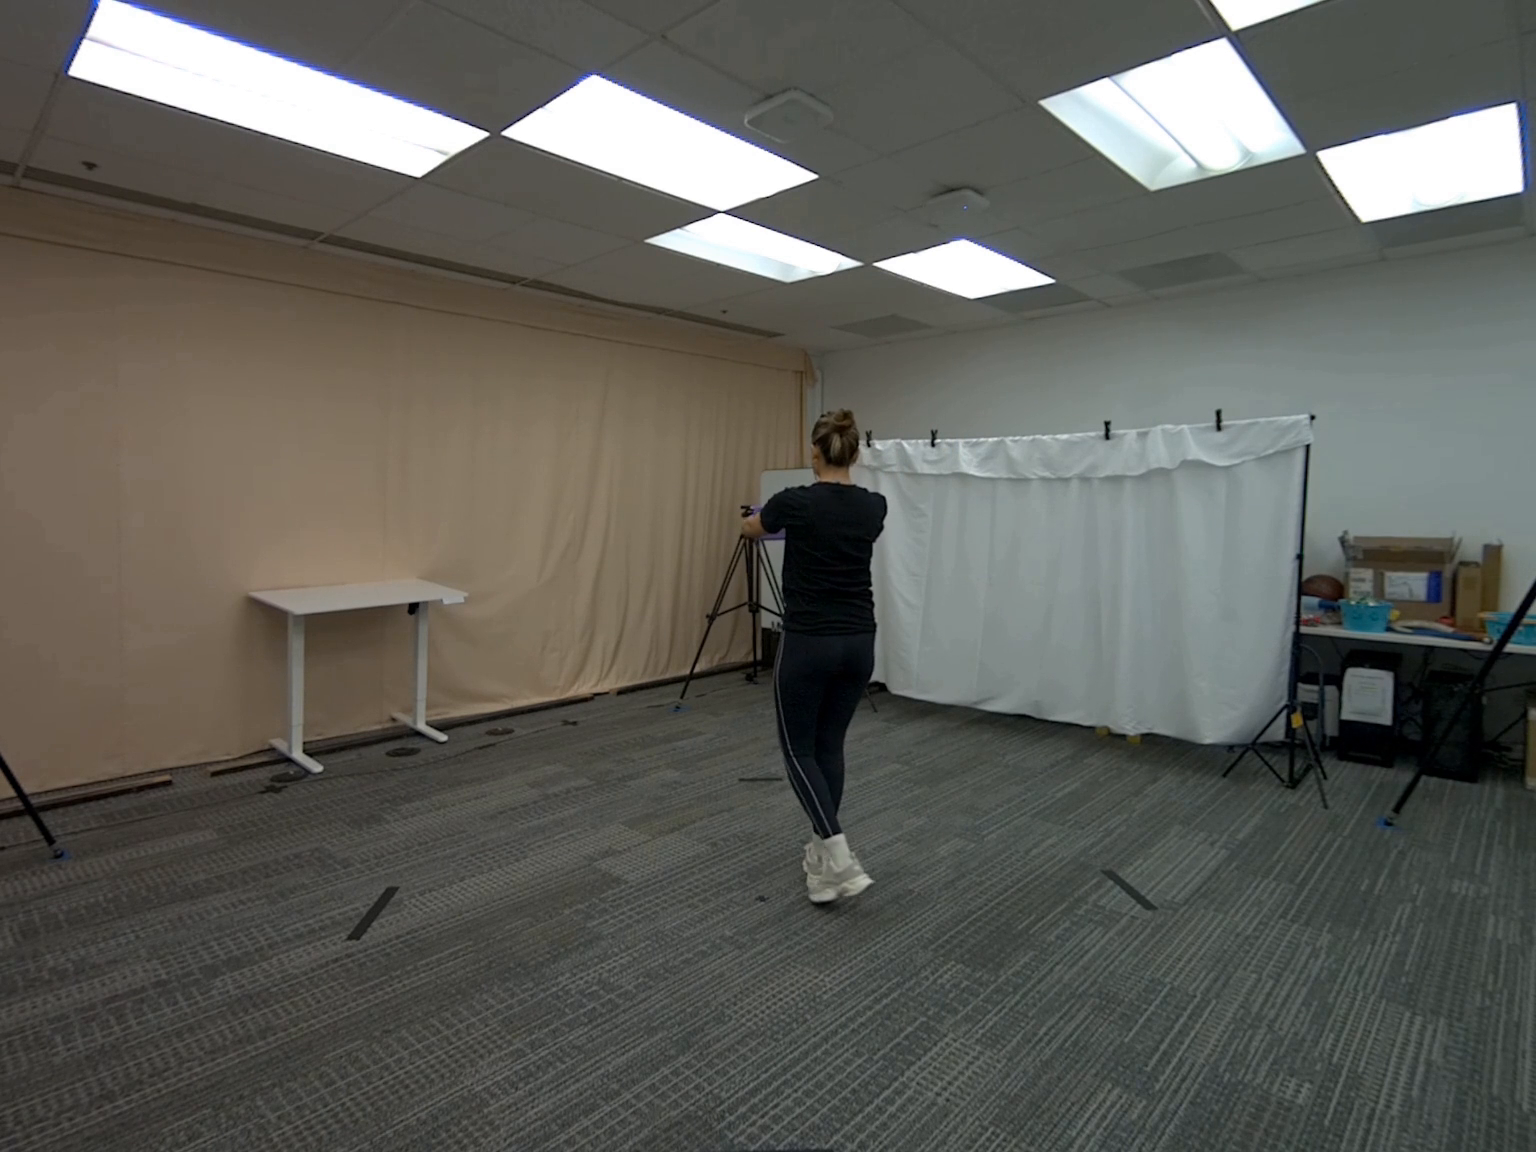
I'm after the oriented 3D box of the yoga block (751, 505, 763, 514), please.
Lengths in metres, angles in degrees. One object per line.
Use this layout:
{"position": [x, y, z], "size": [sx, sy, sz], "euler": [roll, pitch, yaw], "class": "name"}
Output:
{"position": [0.085, -0.226, 3.604], "size": [0.226, 0.149, 0.078], "euler": [-2, 3, -15], "class": "yoga block"}
